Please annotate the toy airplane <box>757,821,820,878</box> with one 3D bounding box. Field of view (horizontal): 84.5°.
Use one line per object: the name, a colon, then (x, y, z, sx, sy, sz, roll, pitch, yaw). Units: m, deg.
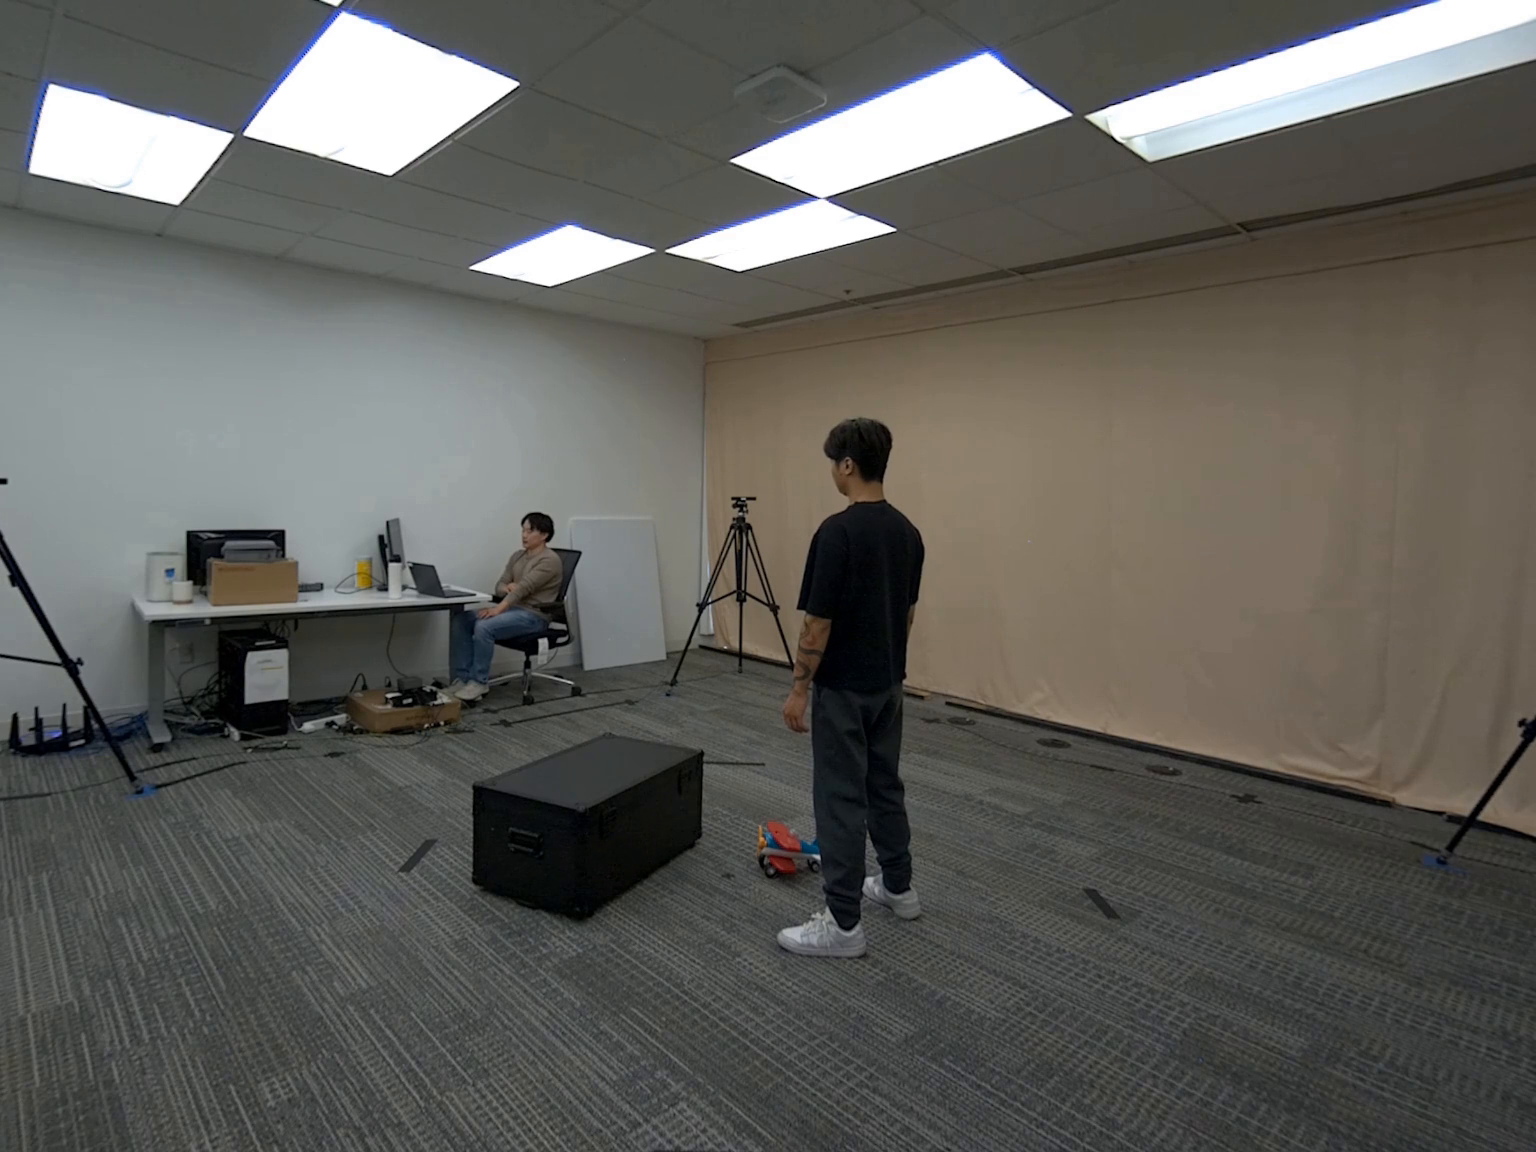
toy airplane: (0.065, 1.028, 3.176, 0.253, 0.156, 0.257, -4, 7, -42)
